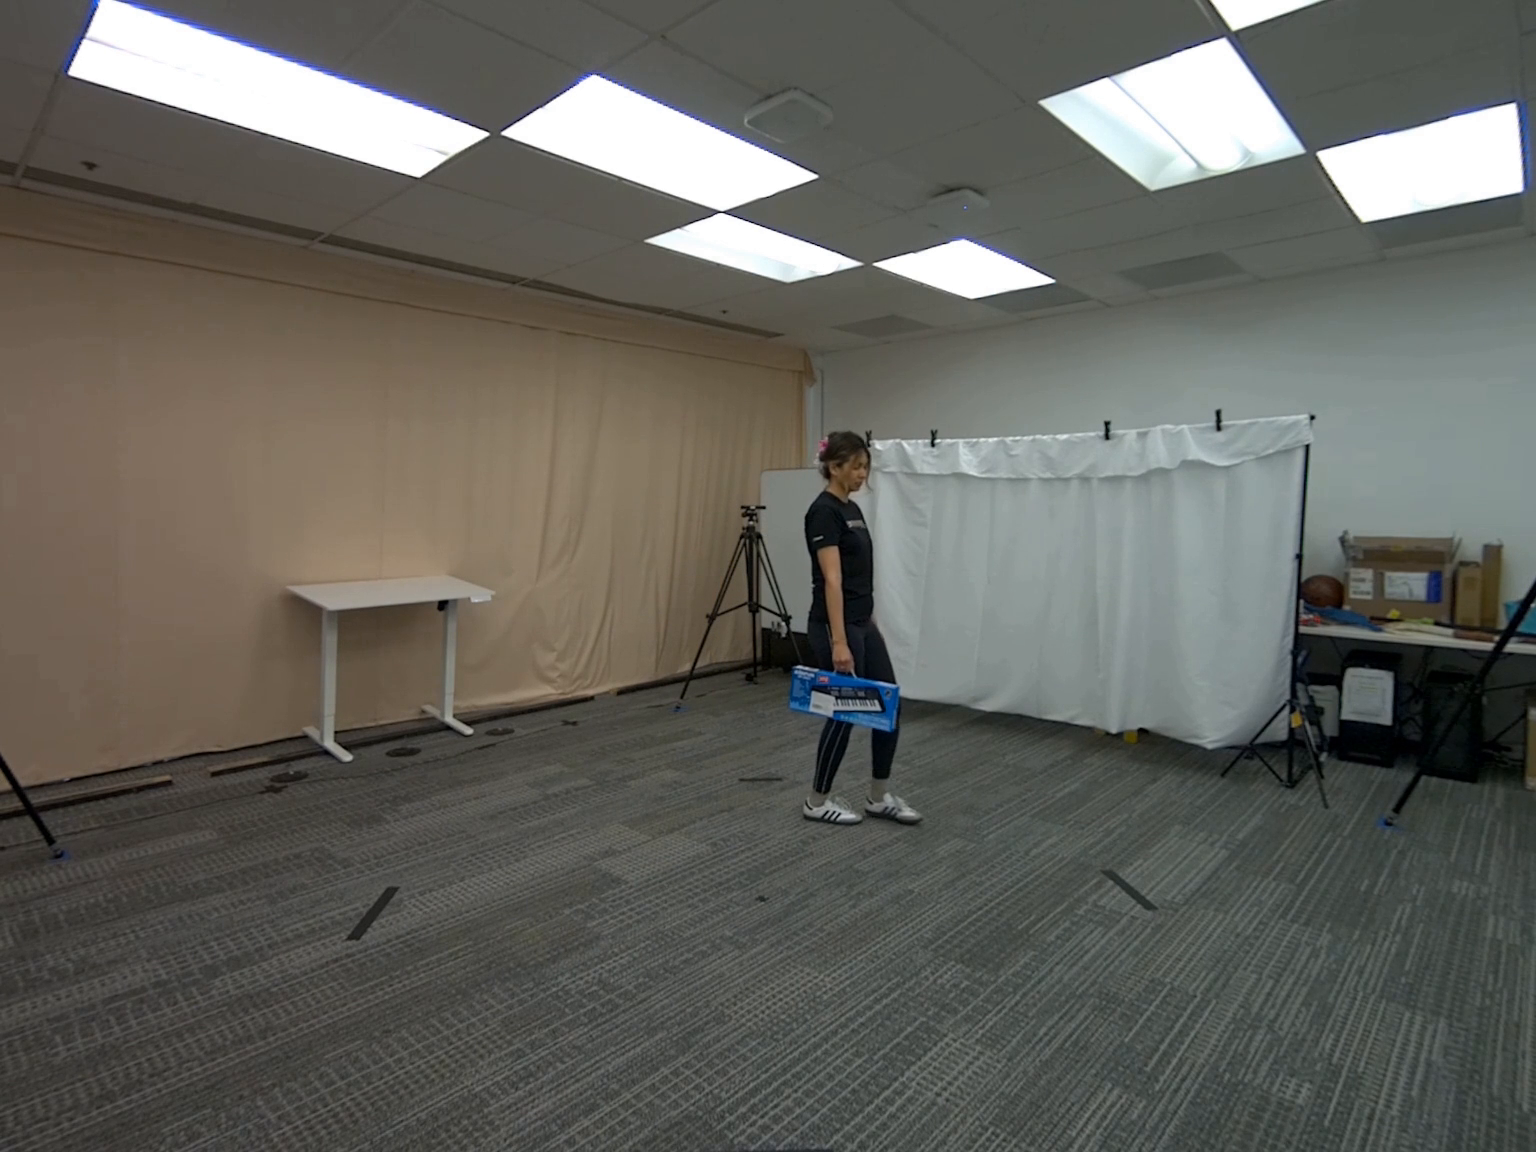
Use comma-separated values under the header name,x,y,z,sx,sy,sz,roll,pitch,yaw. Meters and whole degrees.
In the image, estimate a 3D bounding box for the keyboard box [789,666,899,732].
name,x,y,z,sx,sy,sz,roll,pitch,yaw
keyboard box,0.296,0.482,3.337,0.450,0.175,0.057,8,6,30
